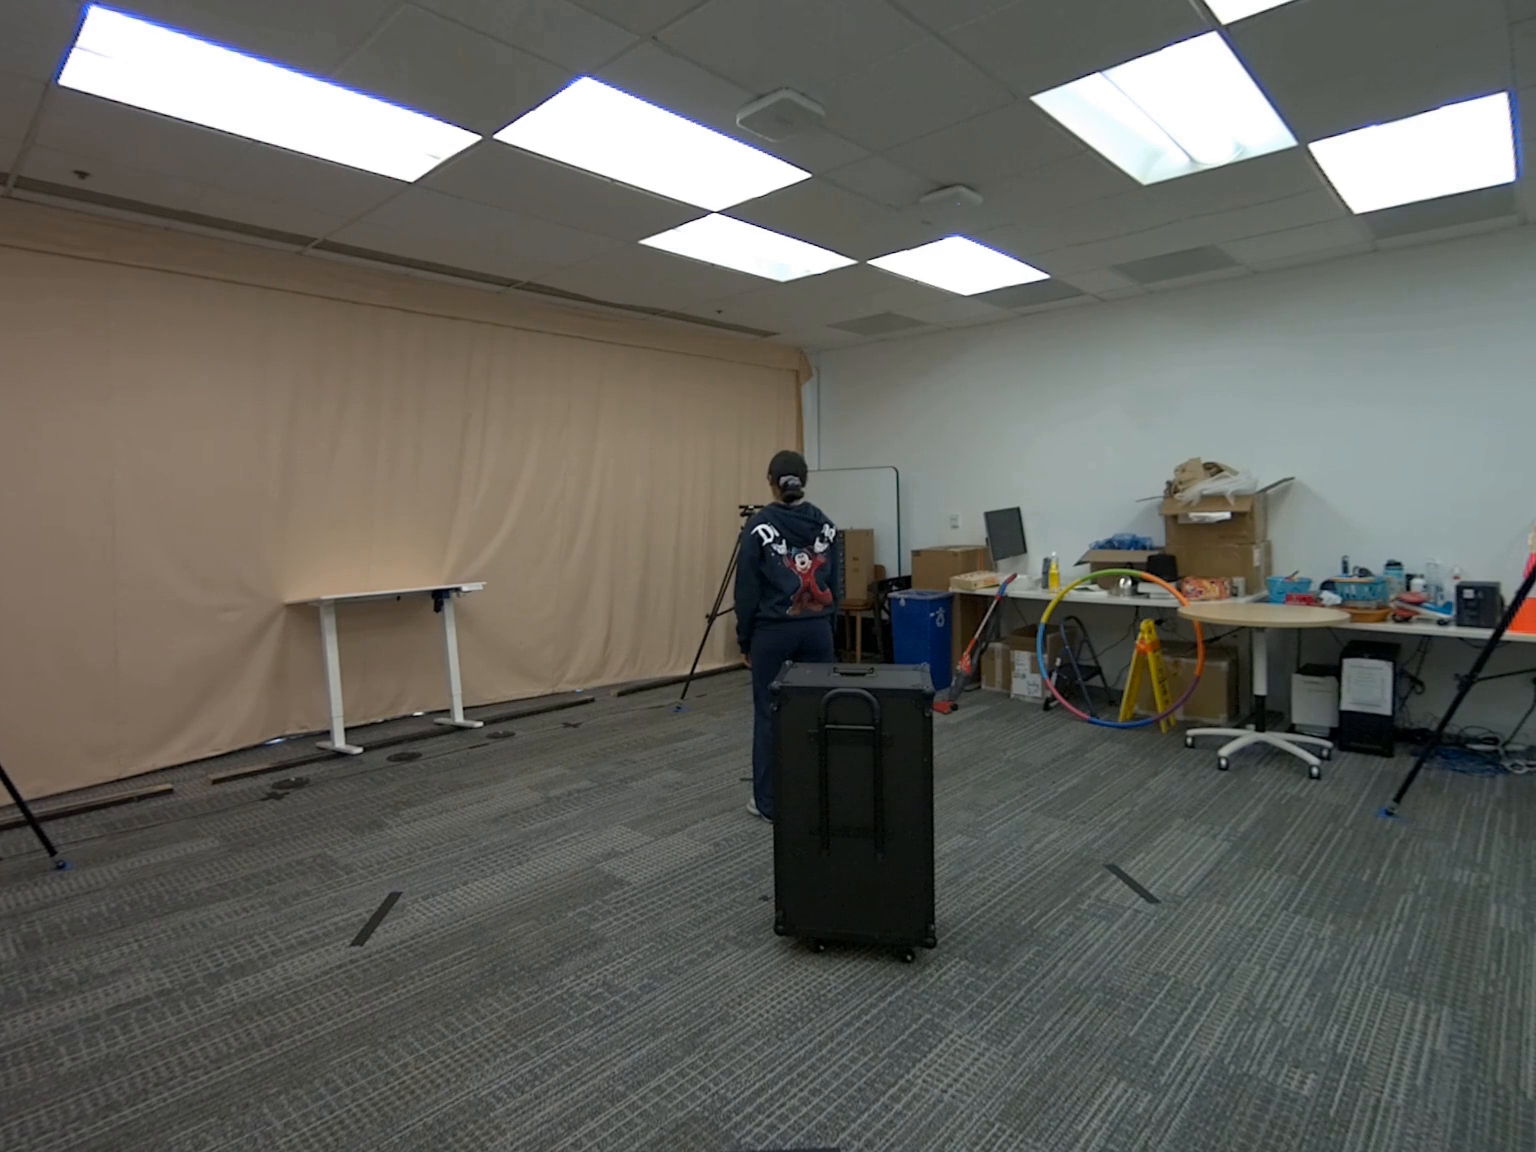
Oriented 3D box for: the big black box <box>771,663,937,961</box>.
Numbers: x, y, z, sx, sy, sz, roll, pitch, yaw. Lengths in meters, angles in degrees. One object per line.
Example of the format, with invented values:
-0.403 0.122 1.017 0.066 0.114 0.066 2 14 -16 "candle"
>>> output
0.281 0.733 2.679 0.528 0.859 0.392 -1 4 12 "big black box"
